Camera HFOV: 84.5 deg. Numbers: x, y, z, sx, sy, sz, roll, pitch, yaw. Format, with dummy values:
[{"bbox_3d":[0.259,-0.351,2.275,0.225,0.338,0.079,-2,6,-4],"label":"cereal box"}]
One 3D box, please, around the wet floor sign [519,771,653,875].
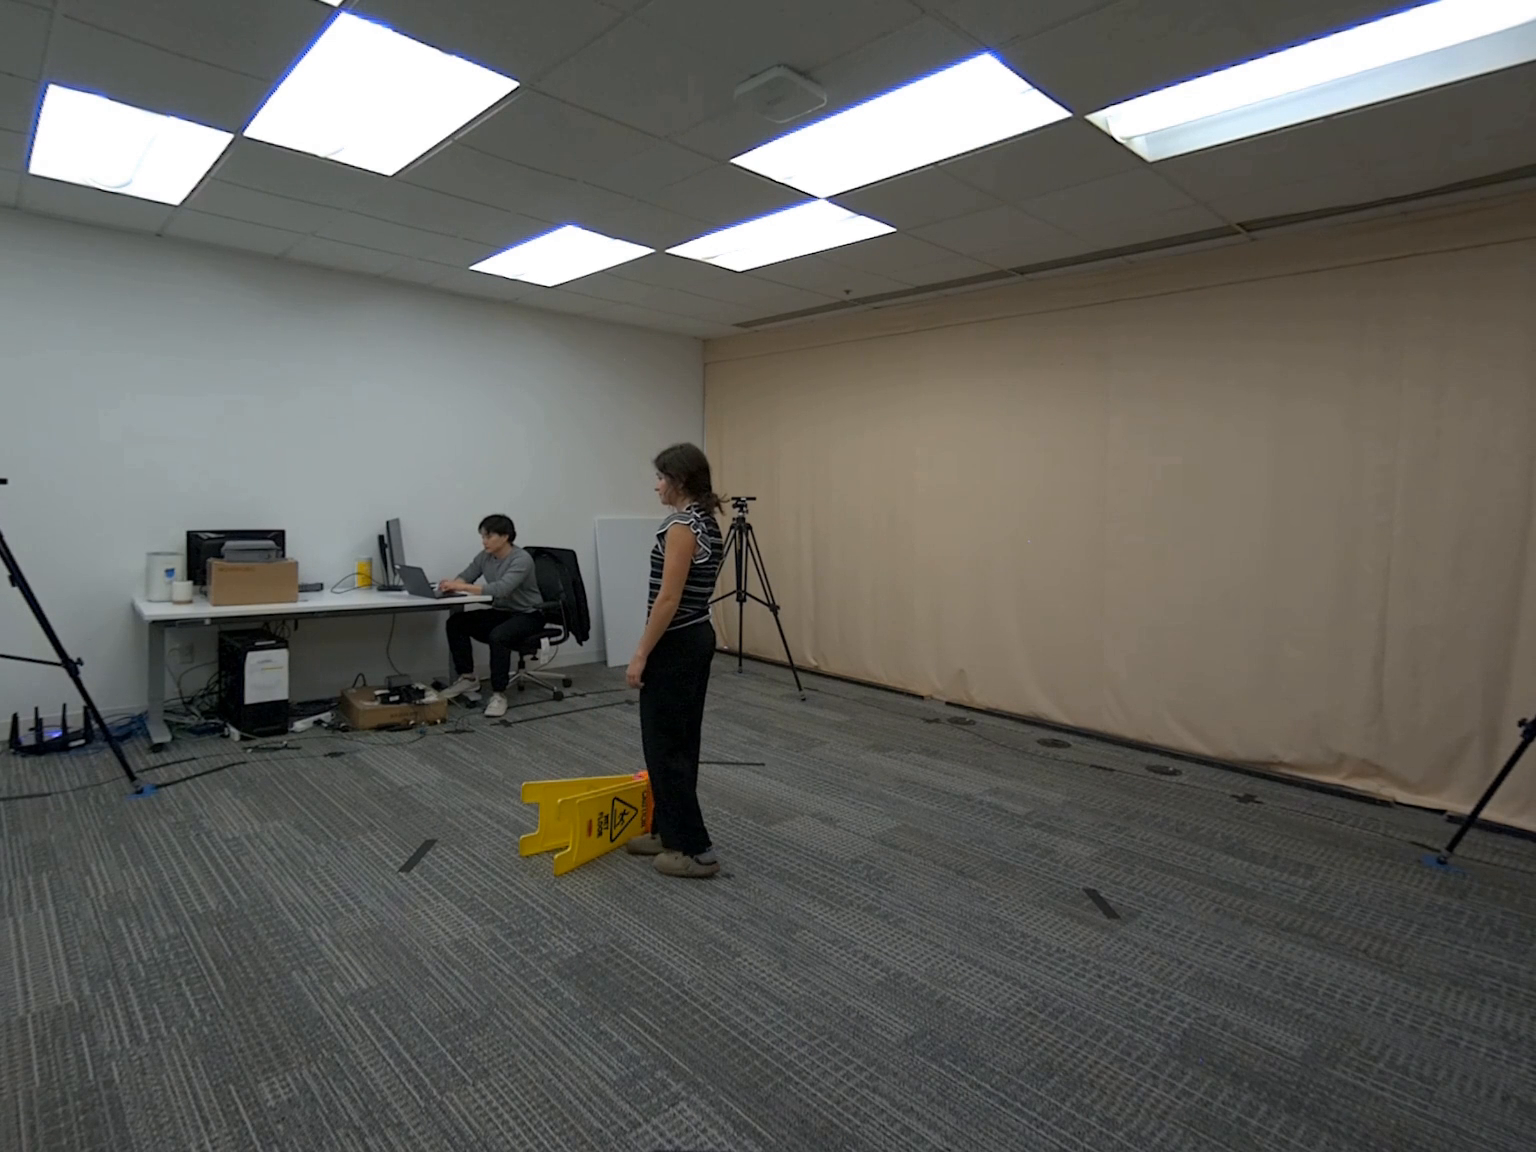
[{"bbox_3d":[-0.652,0.945,3.378,0.297,0.282,0.630,4,2,42],"label":"wet floor sign"}]
